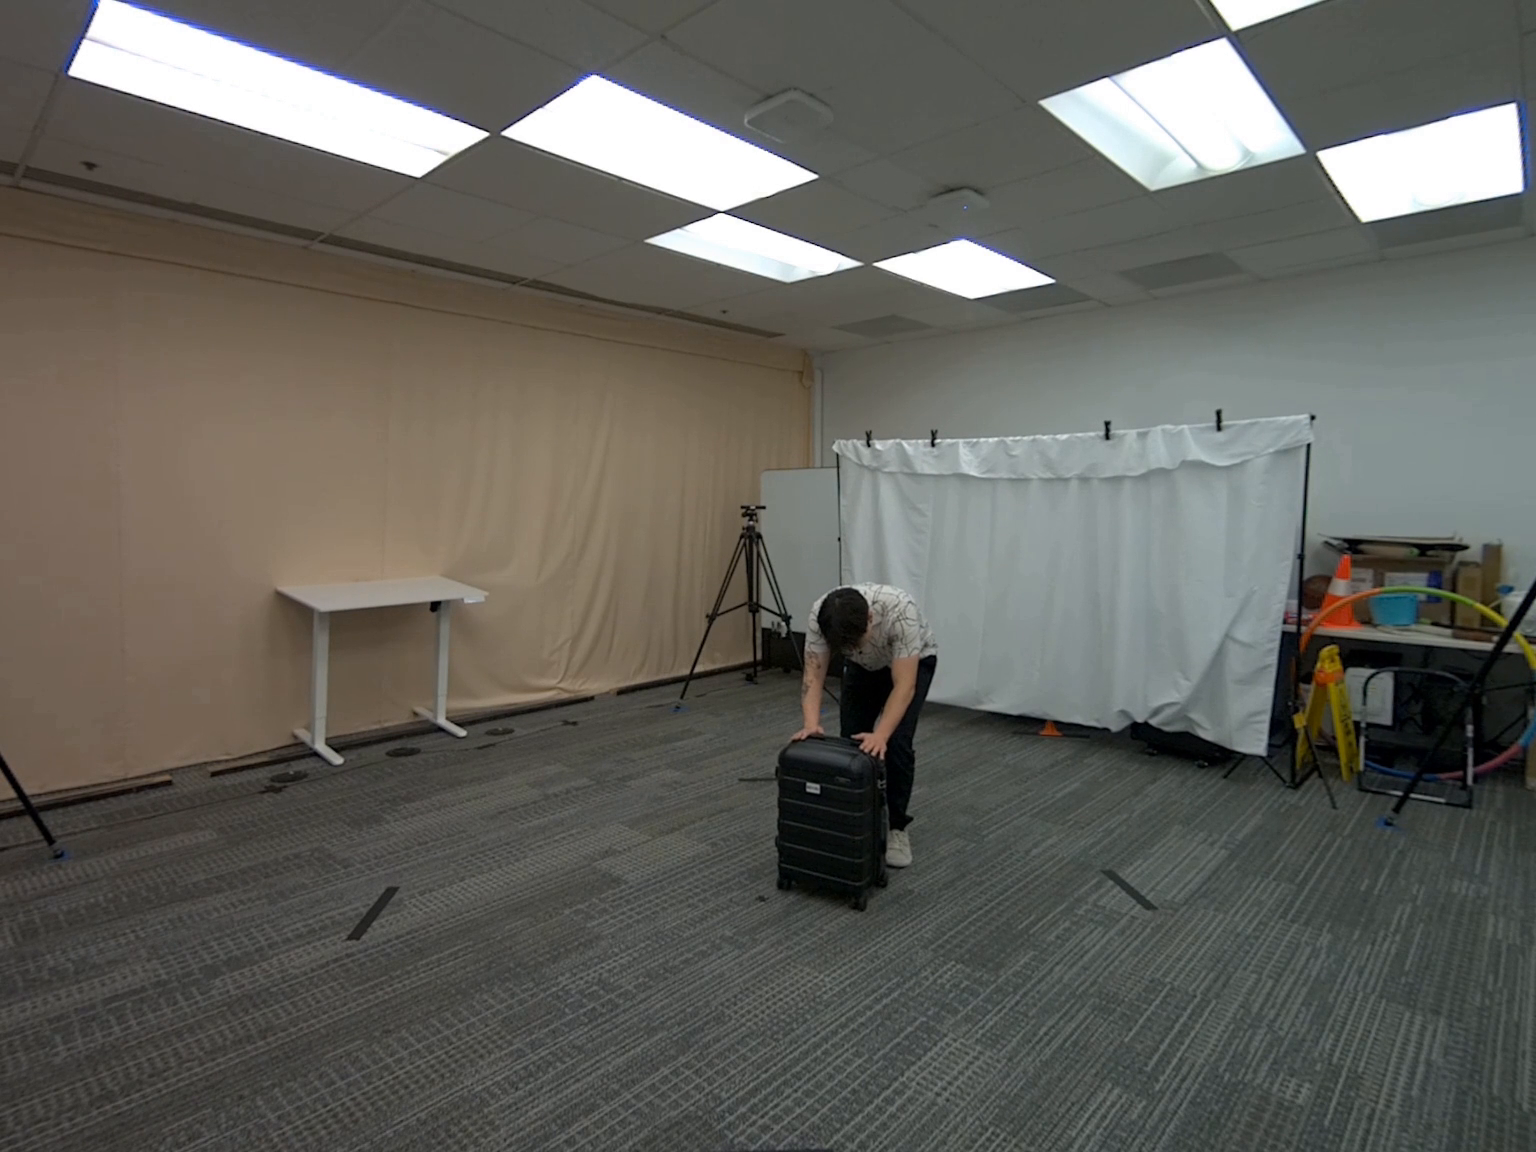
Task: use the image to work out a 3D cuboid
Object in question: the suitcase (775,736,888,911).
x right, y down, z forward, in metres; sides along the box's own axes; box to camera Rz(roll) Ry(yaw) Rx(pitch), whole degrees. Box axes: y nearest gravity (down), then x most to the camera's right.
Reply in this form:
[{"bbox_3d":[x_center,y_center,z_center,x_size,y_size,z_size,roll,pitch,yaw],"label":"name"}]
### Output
[{"bbox_3d":[0.236,0.865,3.036,0.386,0.547,0.242,2,6,31],"label":"suitcase"}]
